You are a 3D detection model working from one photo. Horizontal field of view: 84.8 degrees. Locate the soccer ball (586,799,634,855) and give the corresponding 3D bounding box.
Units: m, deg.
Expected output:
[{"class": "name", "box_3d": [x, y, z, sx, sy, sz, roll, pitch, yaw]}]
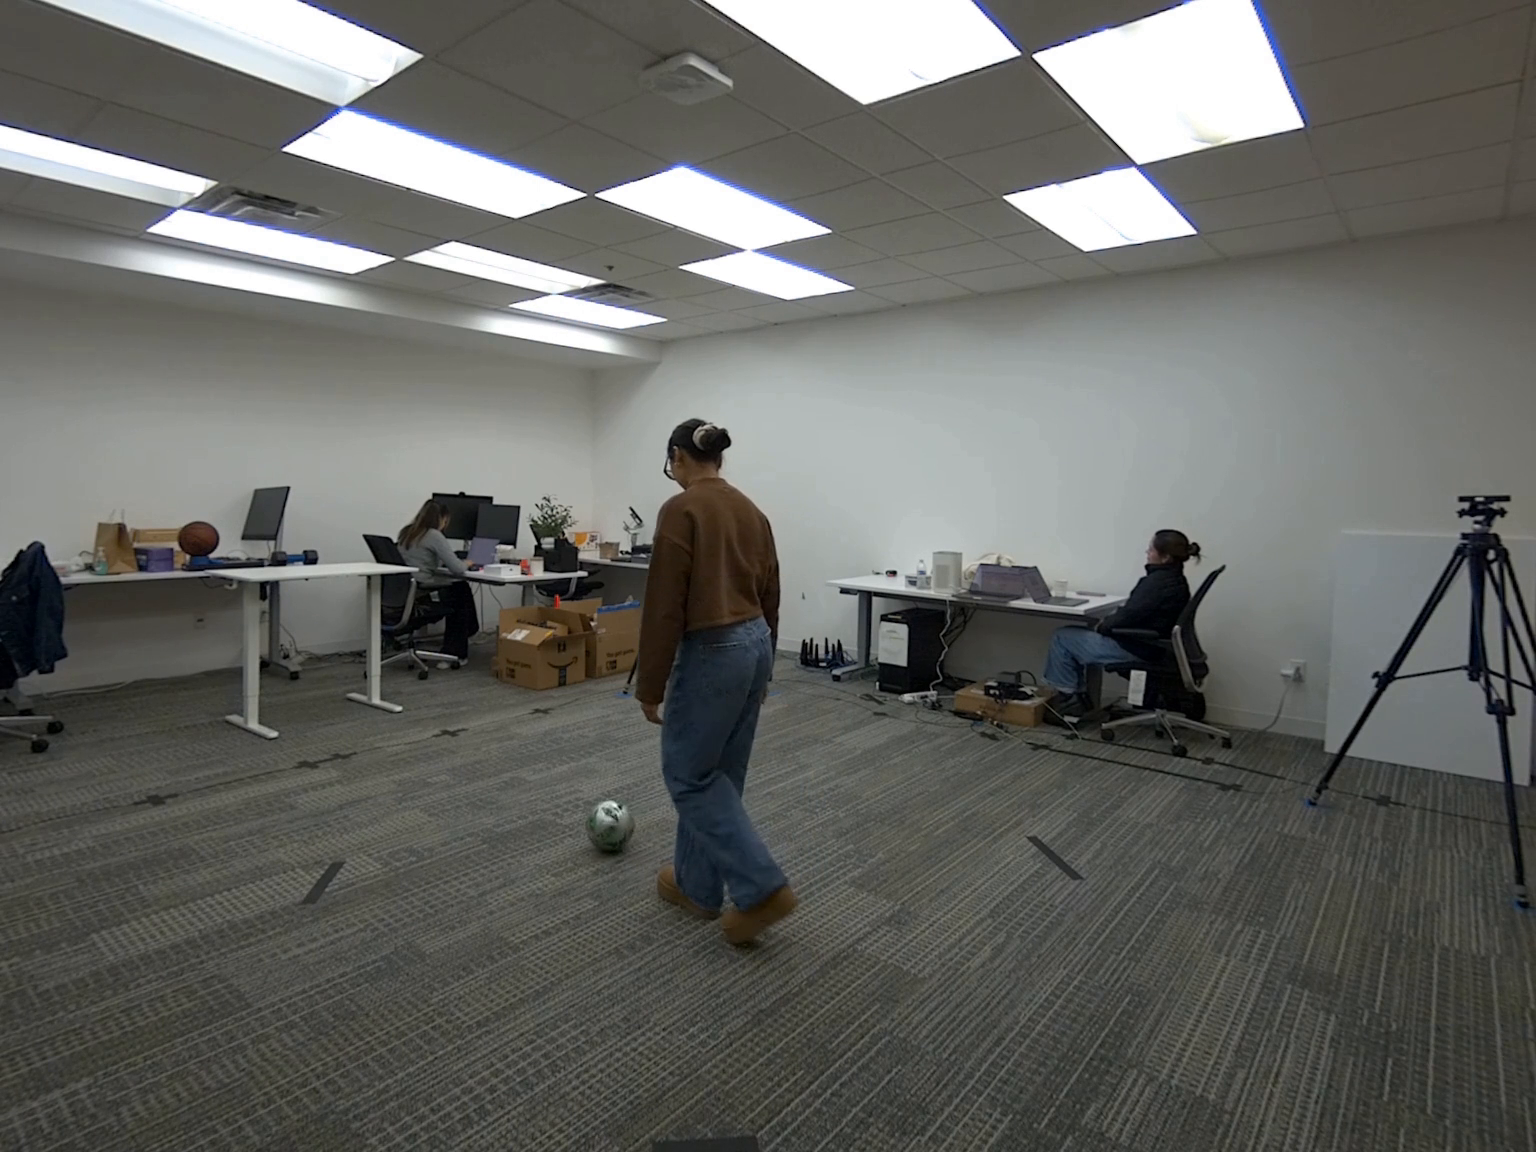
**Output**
[{"class": "soccer ball", "box_3d": [-0.613, 0.950, 3.252, 0.187, 0.187, 0.188, 1, 4, -2]}]
